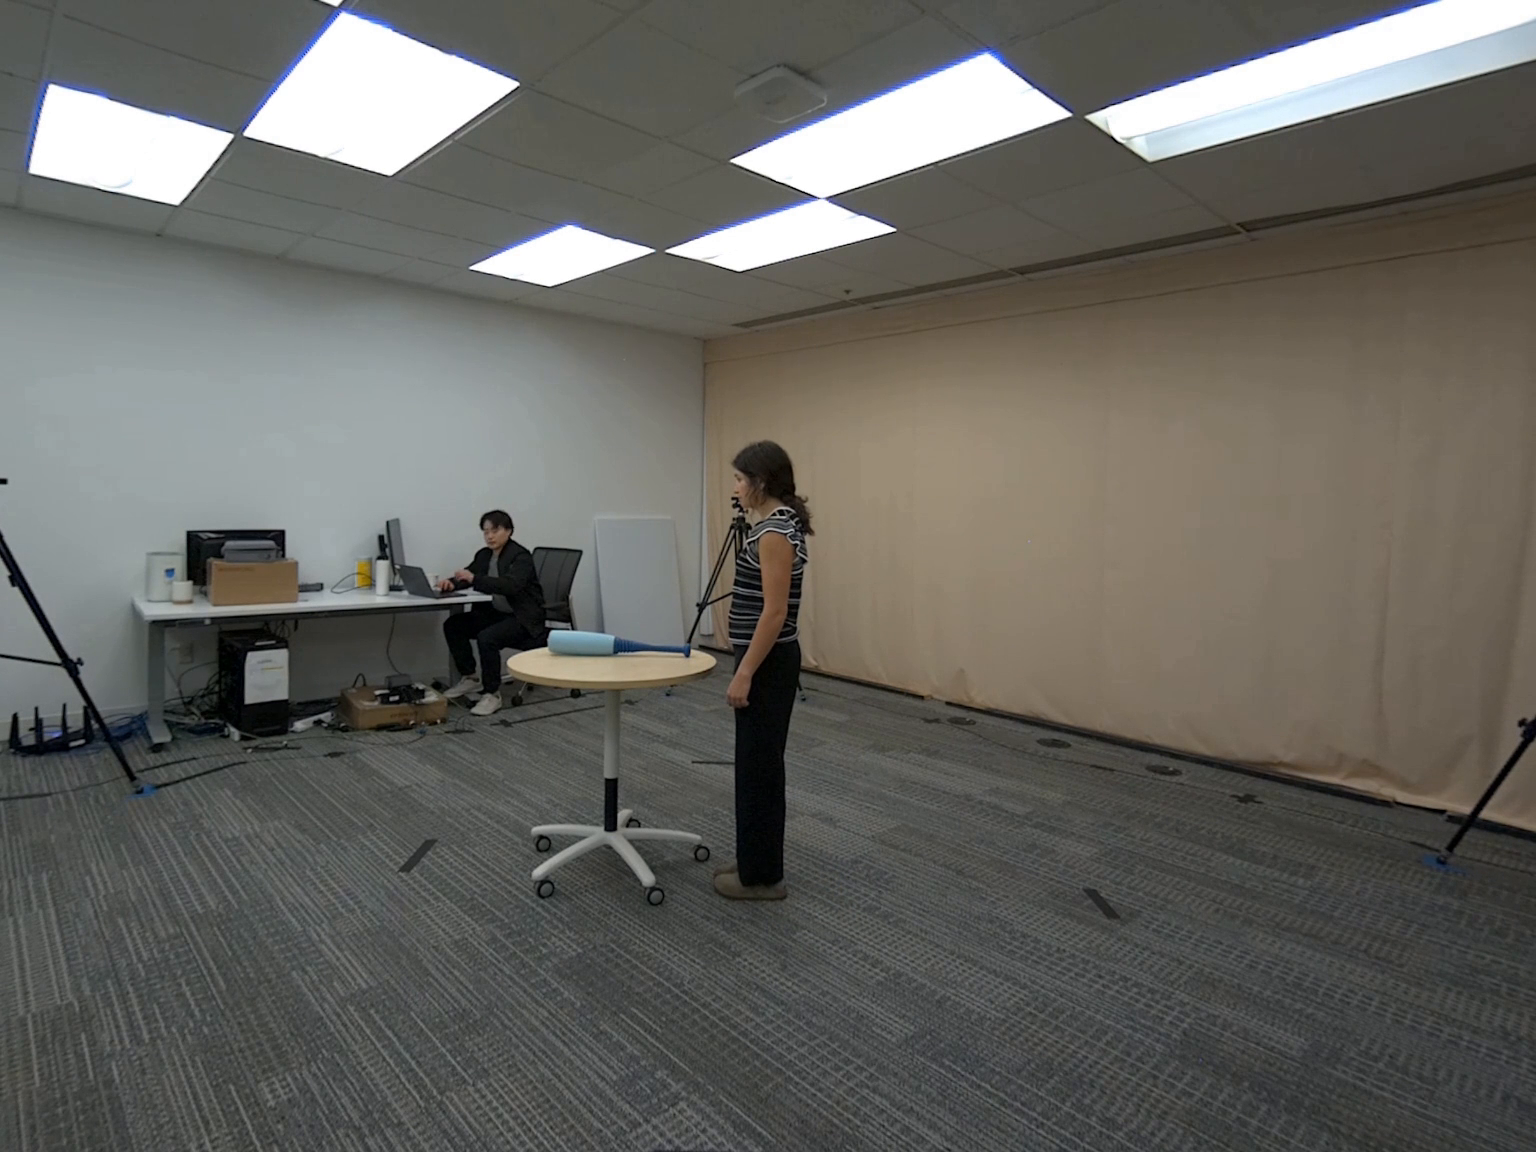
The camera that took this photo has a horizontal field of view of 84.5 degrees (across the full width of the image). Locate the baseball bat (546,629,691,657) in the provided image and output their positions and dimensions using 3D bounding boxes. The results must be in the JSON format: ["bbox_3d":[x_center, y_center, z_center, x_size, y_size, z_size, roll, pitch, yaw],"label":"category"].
[{"bbox_3d":[-0.566,0.266,3.208,0.542,0.089,0.089,4,4,-3],"label":"baseball bat"}]
